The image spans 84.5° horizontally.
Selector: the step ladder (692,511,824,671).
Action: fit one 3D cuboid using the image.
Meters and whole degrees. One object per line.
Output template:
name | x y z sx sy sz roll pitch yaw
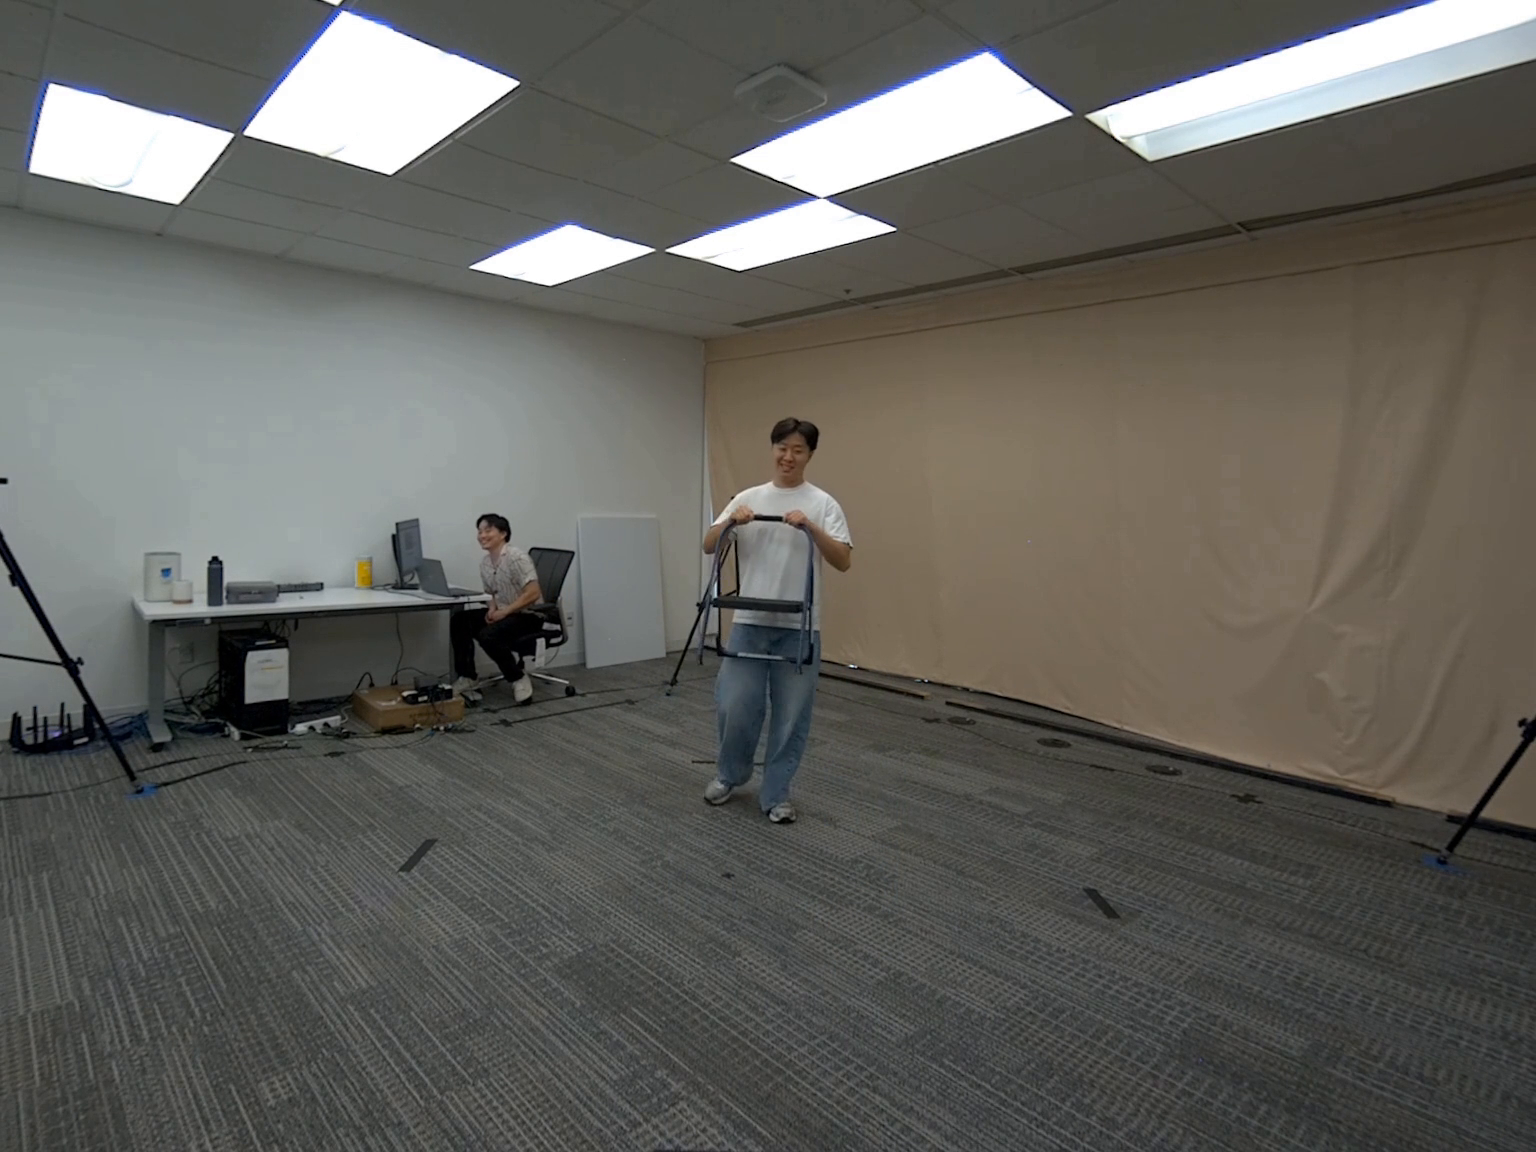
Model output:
step ladder | -0.027 0.066 3.399 0.435 0.606 0.345 4 0 13
